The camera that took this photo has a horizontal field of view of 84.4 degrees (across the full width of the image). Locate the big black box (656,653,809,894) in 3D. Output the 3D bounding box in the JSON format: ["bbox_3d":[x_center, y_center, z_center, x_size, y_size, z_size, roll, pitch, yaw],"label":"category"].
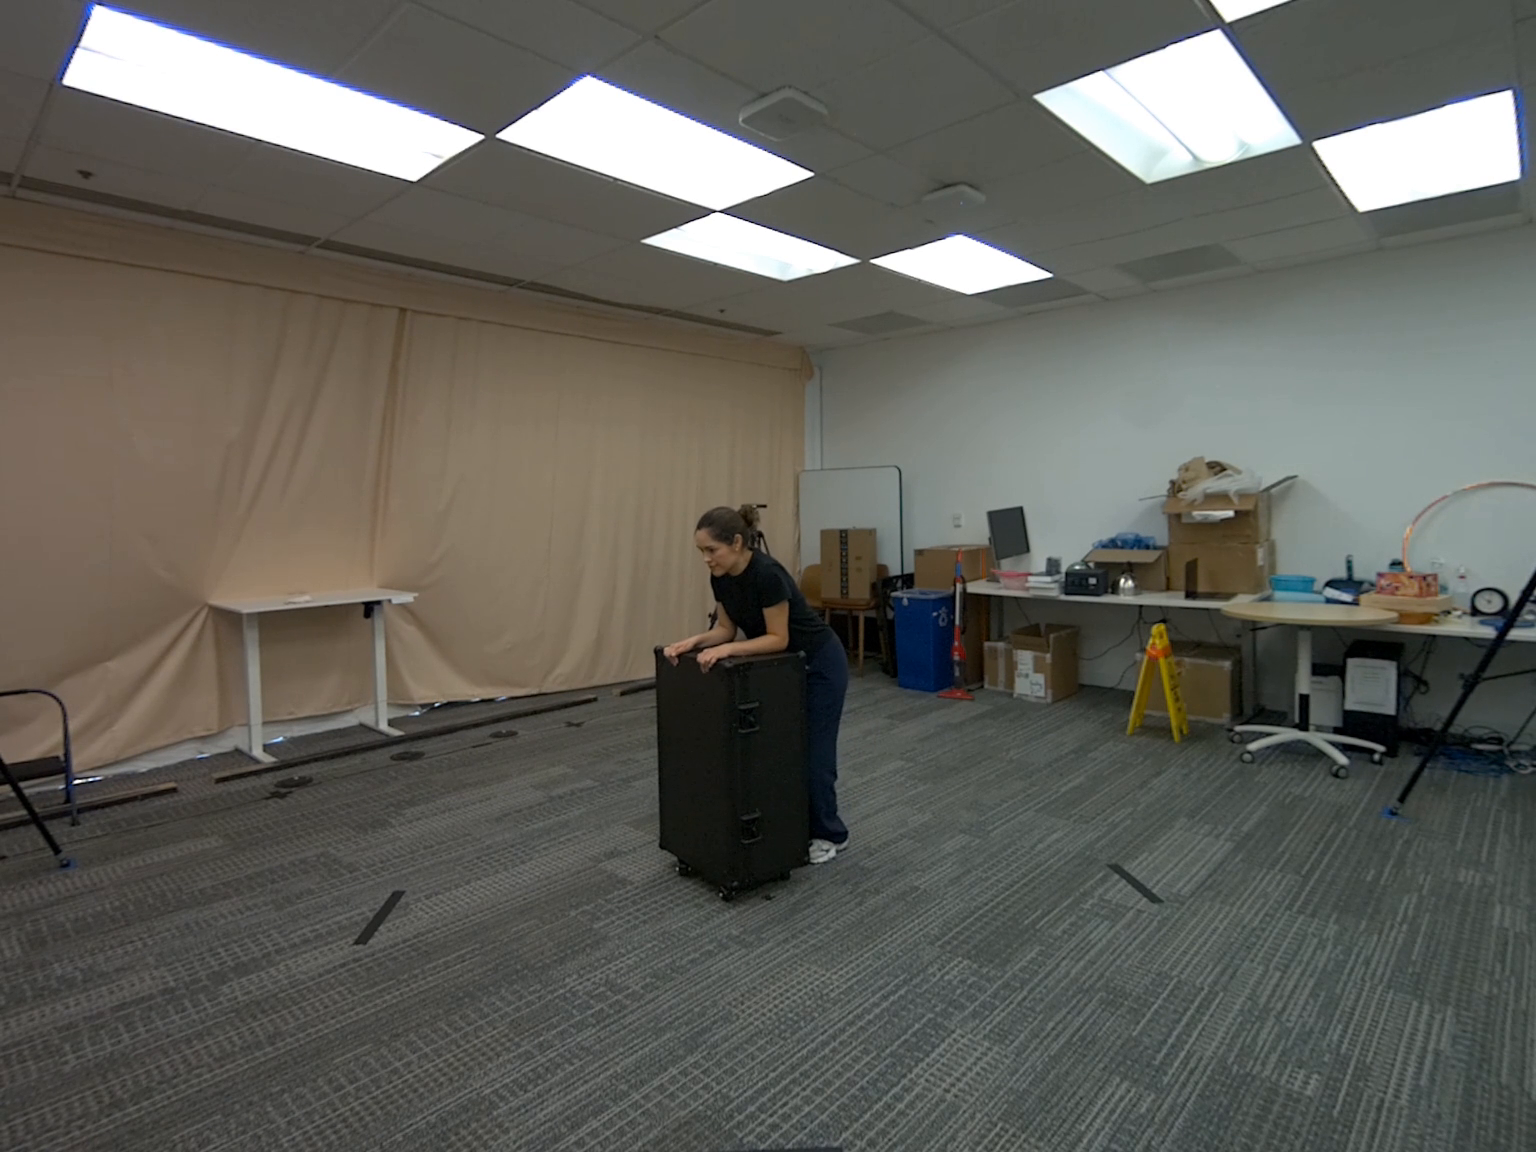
[{"bbox_3d":[-0.121,0.645,3.160,0.385,0.860,0.538,-4,4,-37],"label":"big black box"}]
